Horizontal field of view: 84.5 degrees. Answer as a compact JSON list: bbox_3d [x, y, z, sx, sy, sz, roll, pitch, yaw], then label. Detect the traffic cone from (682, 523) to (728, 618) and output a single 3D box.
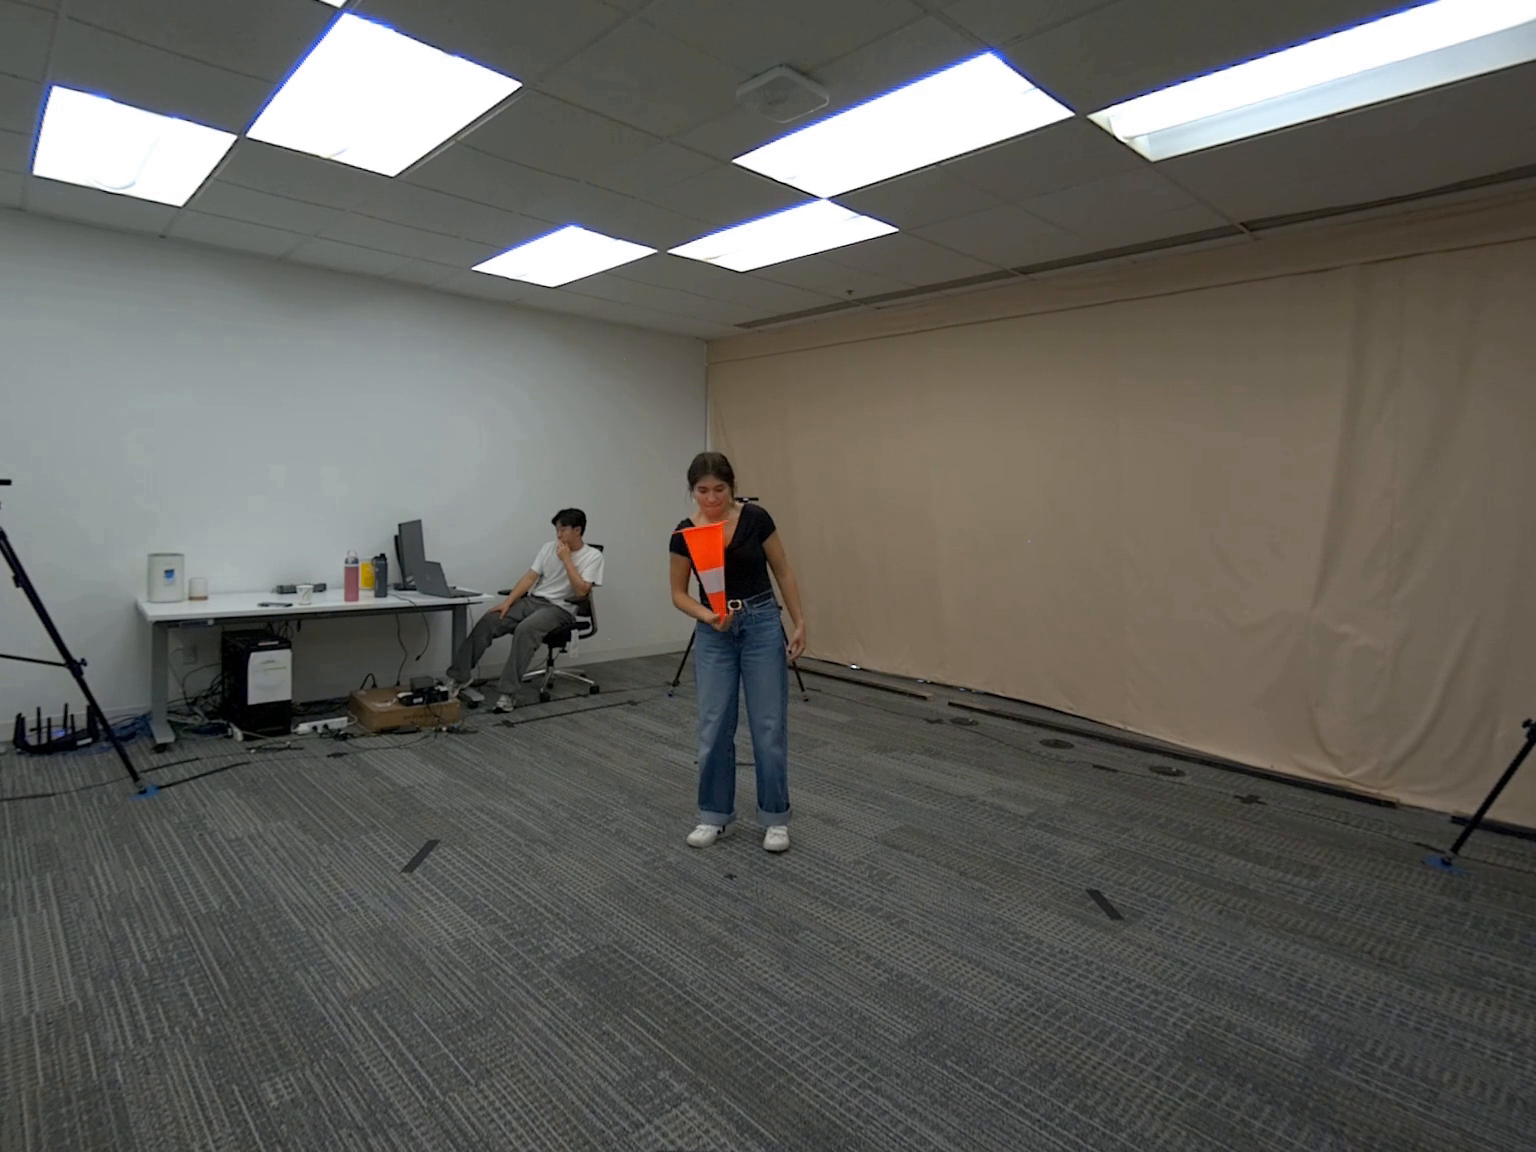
[{"bbox_3d":[-0.242,0.001,3.223,0.202,0.383,0.206,-10,2,-6],"label":"traffic cone"}]
